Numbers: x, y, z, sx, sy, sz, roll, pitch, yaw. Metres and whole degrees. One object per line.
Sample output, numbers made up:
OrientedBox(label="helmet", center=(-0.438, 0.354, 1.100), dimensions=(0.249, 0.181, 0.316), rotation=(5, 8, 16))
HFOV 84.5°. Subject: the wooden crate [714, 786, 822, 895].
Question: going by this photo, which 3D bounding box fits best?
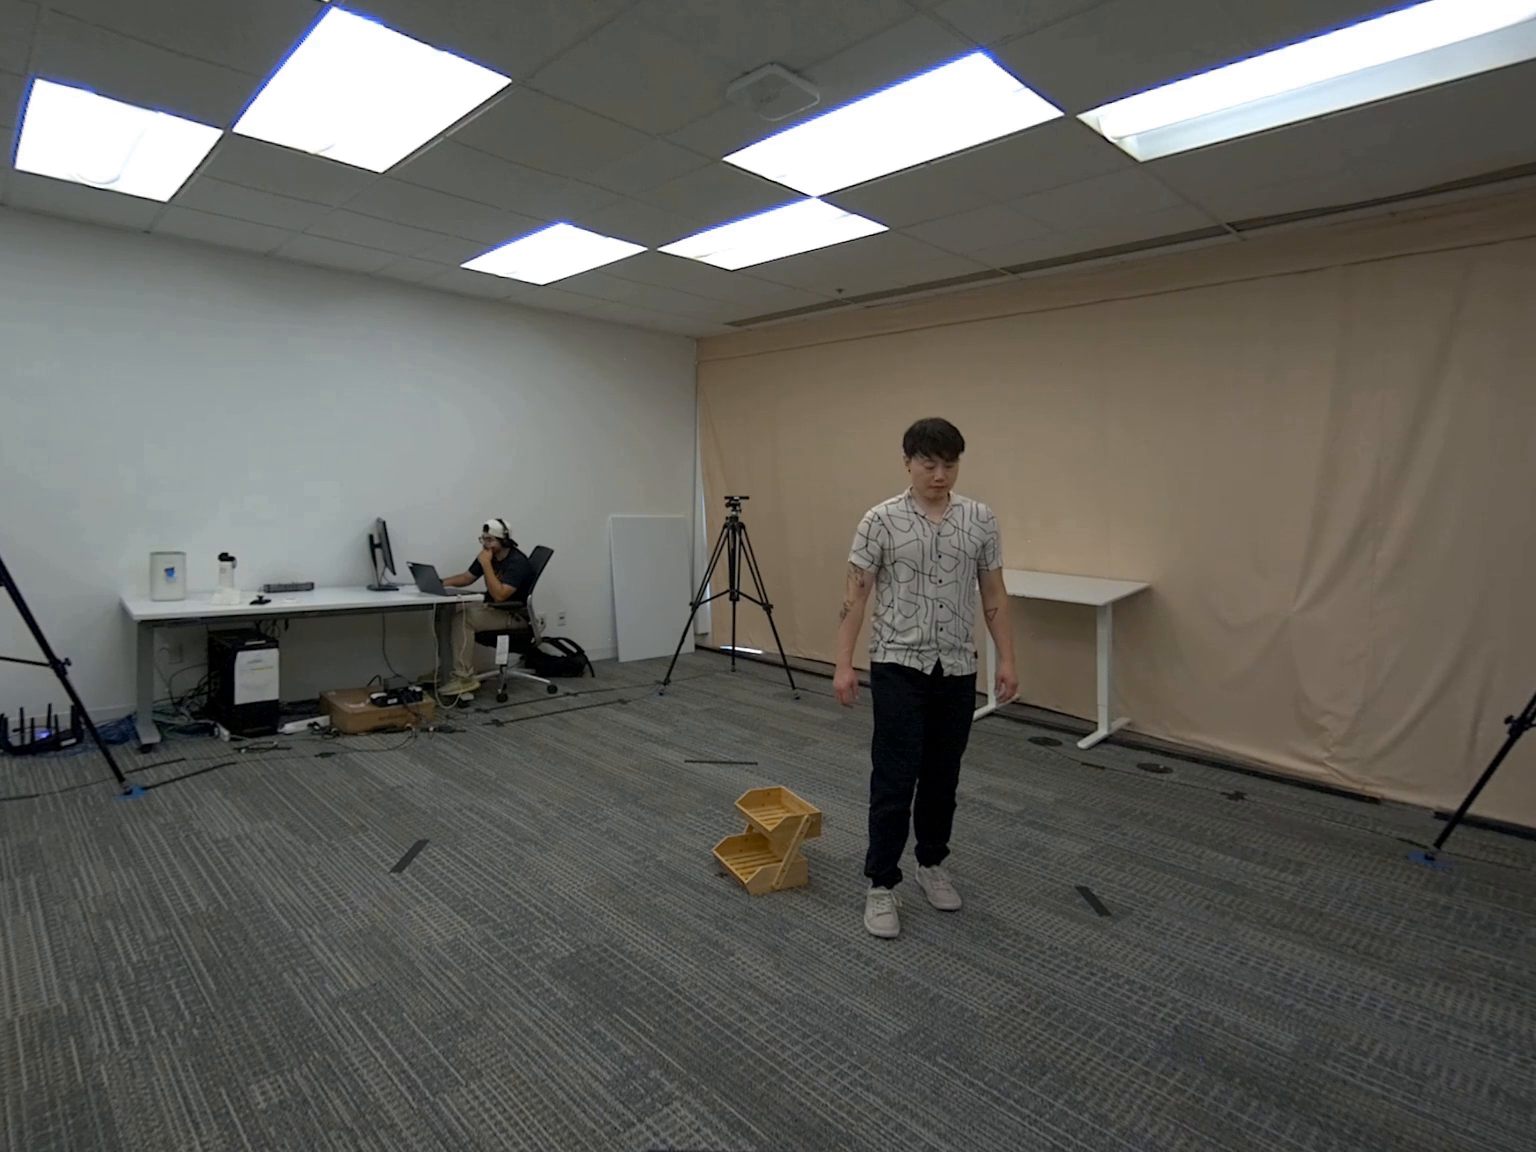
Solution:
OrientedBox(label="wooden crate", center=(-0.020, 0.968, 3.132), dimensions=(0.296, 0.272, 0.331), rotation=(0, 4, -27))
